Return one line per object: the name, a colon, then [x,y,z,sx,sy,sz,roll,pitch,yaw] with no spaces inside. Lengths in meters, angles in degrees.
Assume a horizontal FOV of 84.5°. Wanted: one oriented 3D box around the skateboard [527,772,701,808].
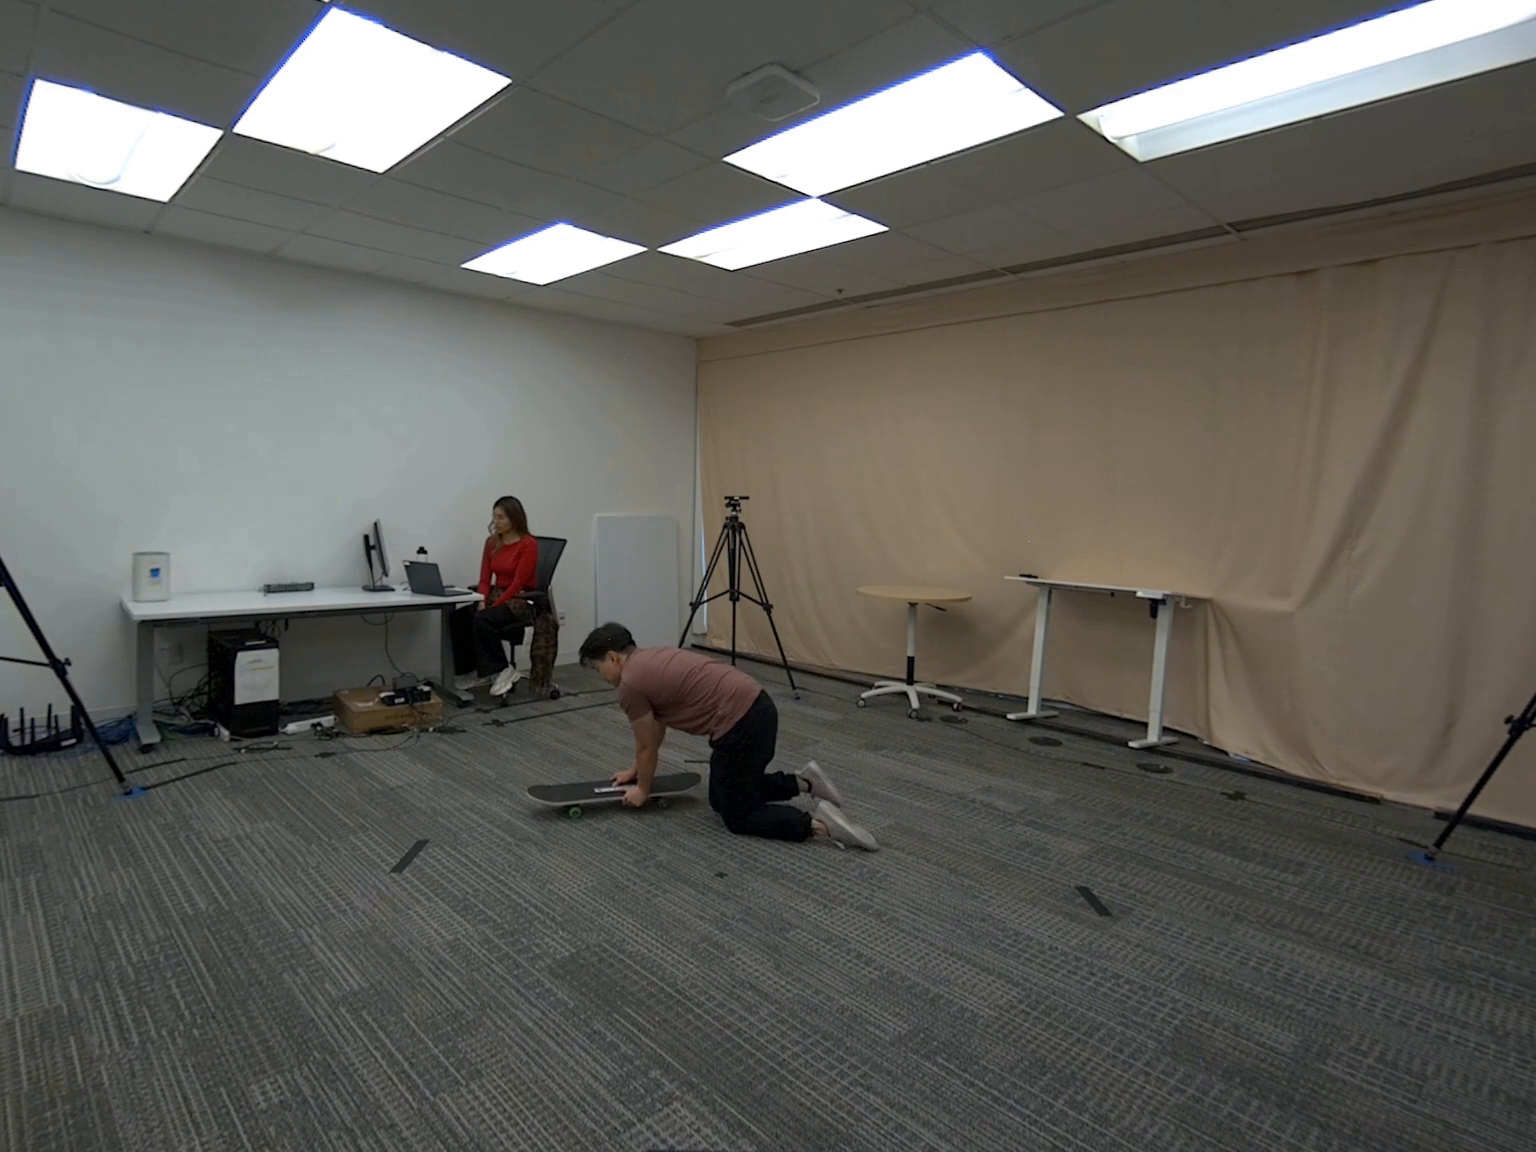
skateboard: [-0.677,0.971,3.752,0.774,0.110,0.197,0,9,-19]
